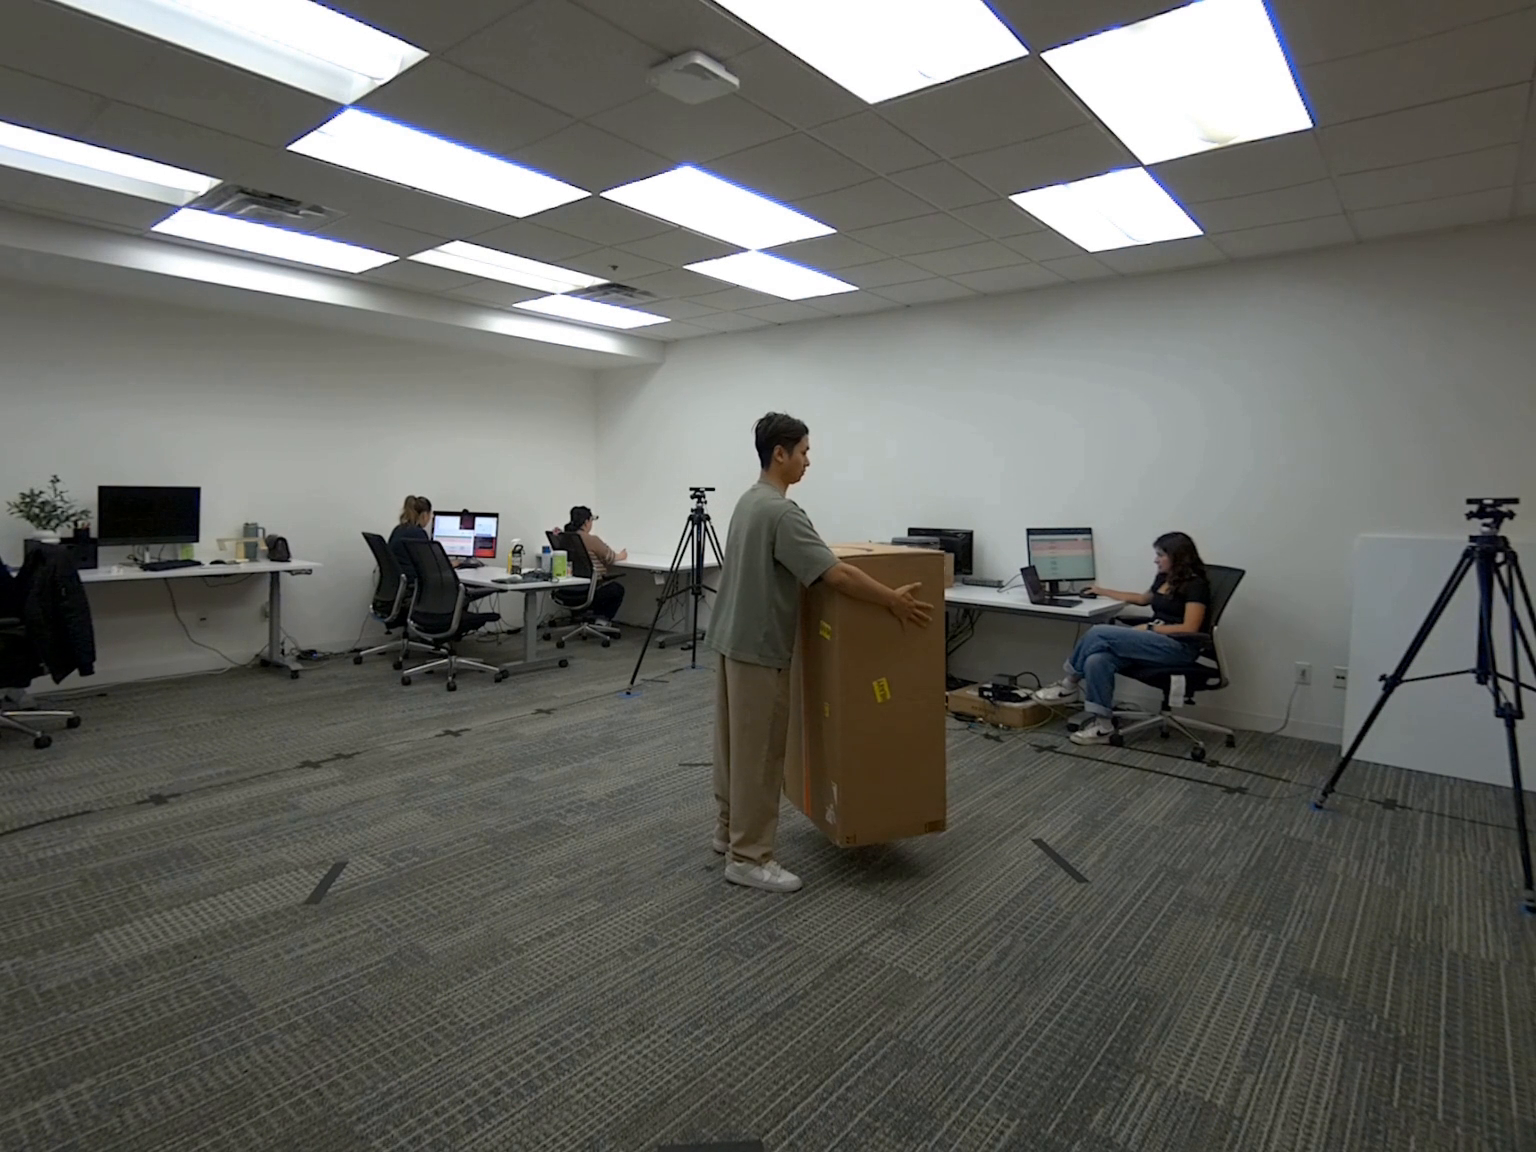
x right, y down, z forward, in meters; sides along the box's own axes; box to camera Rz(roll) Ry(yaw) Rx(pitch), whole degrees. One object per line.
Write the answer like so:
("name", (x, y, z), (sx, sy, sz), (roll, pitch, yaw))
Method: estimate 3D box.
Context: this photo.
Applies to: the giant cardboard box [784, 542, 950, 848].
("giant cardboard box", (0.340, 0.412, 3.252), (0.419, 1.022, 0.590), (-2, 4, -18))
